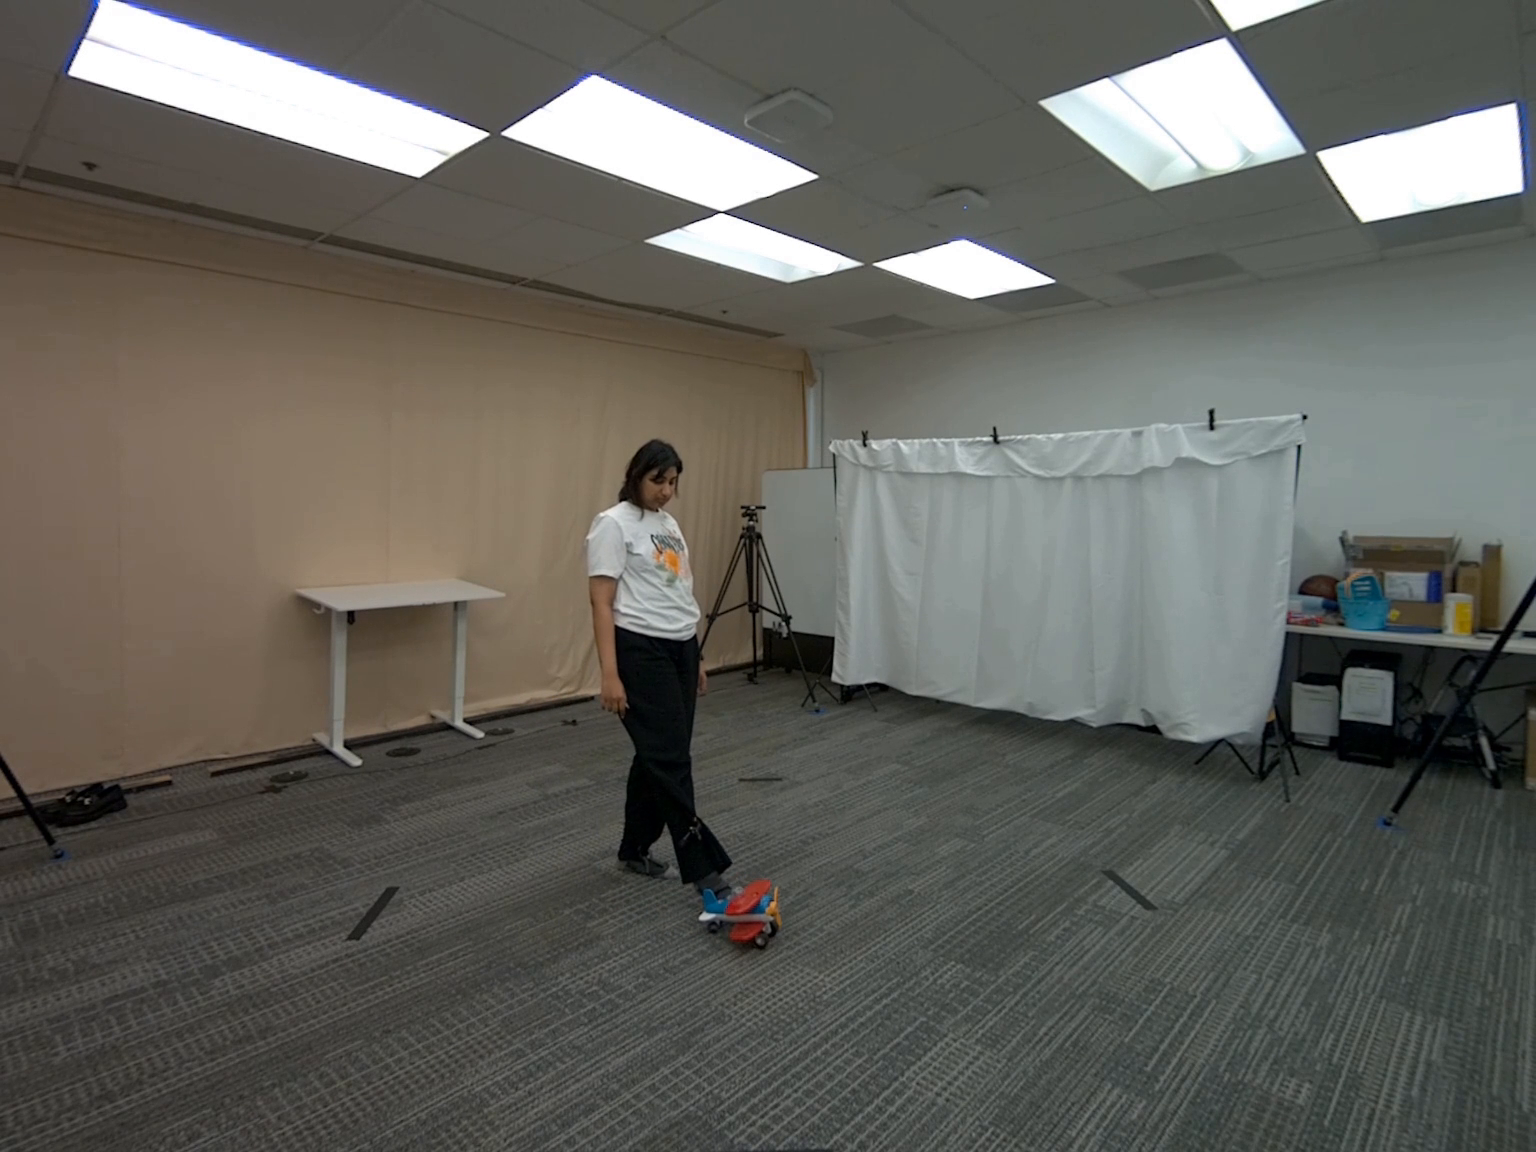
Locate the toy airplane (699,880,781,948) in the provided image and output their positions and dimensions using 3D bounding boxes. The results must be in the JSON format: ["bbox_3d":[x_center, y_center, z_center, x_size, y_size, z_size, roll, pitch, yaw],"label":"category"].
[{"bbox_3d":[-0.091,1.090,2.703,0.258,0.156,0.253,0,4,-5],"label":"toy airplane"}]
